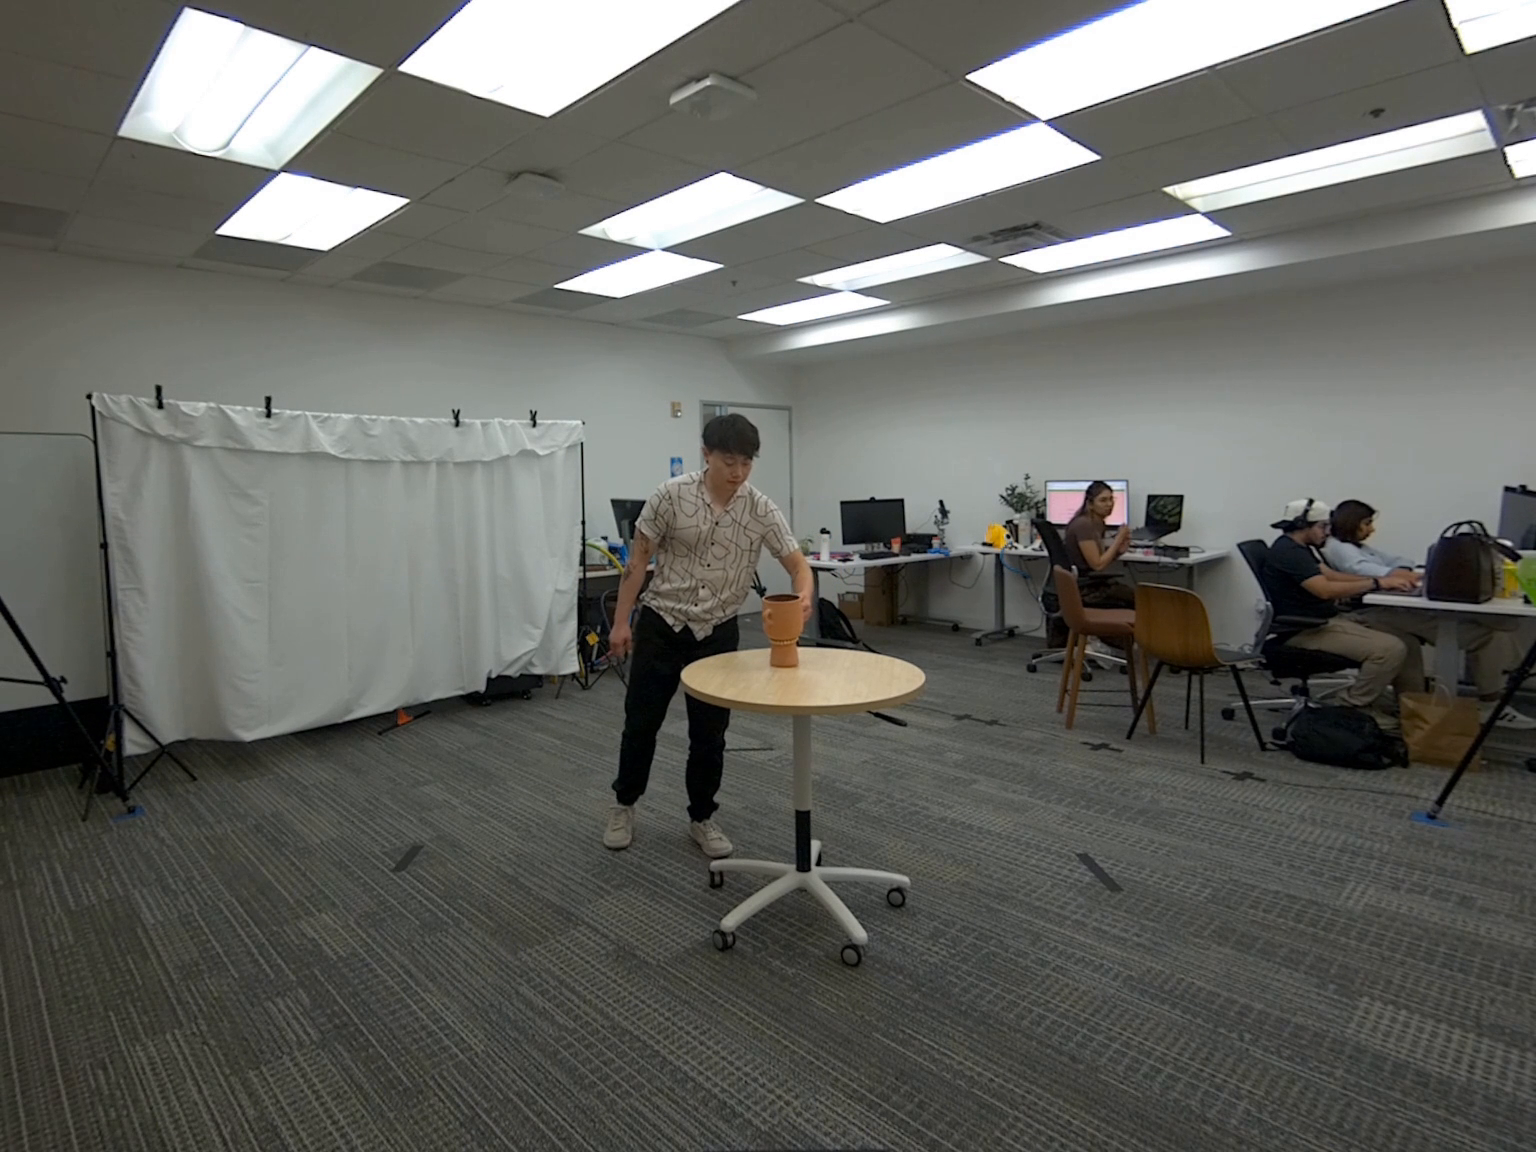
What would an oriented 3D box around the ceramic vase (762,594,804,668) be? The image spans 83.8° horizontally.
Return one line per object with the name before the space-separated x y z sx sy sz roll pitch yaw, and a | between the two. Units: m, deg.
ceramic vase | 0.055 0.176 2.810 0.157 0.218 0.137 -4 7 -13
